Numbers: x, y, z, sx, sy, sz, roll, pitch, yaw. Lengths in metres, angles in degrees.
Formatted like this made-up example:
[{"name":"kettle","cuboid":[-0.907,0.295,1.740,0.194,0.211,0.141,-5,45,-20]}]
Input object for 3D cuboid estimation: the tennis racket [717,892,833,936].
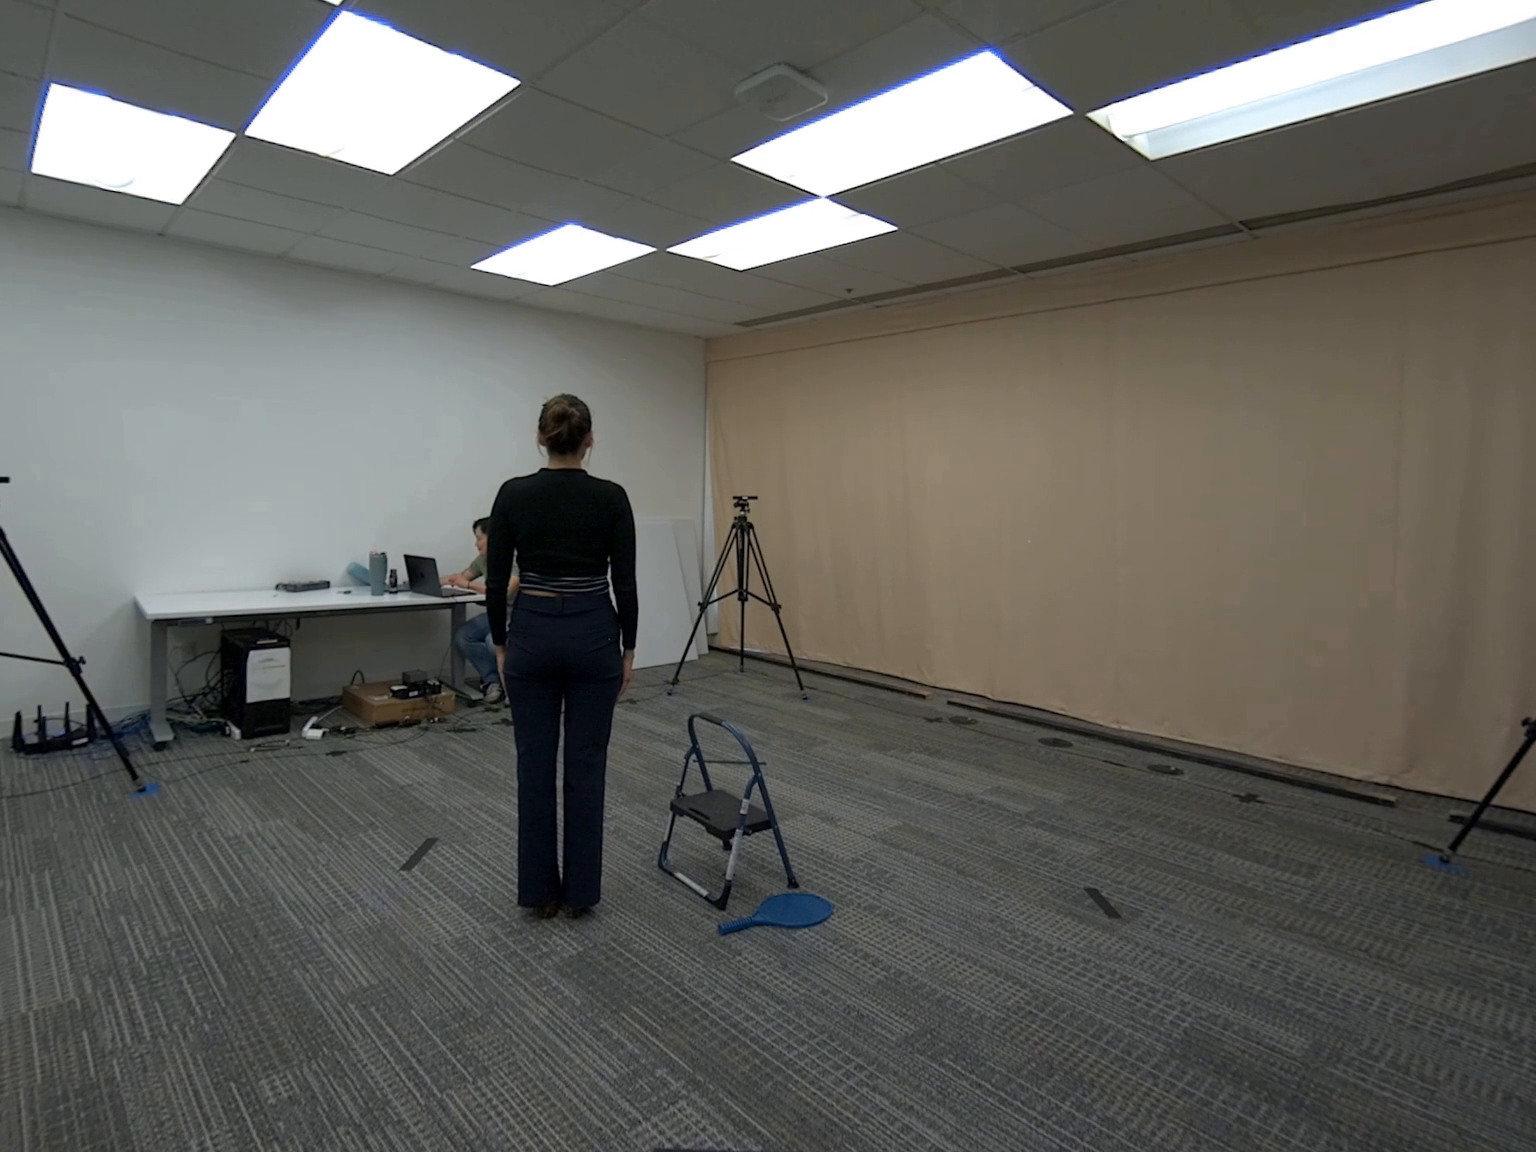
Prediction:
[{"name":"tennis racket","cuboid":[0.023,1.122,2.791,0.423,0.031,0.219,-2,6,-37]}]
